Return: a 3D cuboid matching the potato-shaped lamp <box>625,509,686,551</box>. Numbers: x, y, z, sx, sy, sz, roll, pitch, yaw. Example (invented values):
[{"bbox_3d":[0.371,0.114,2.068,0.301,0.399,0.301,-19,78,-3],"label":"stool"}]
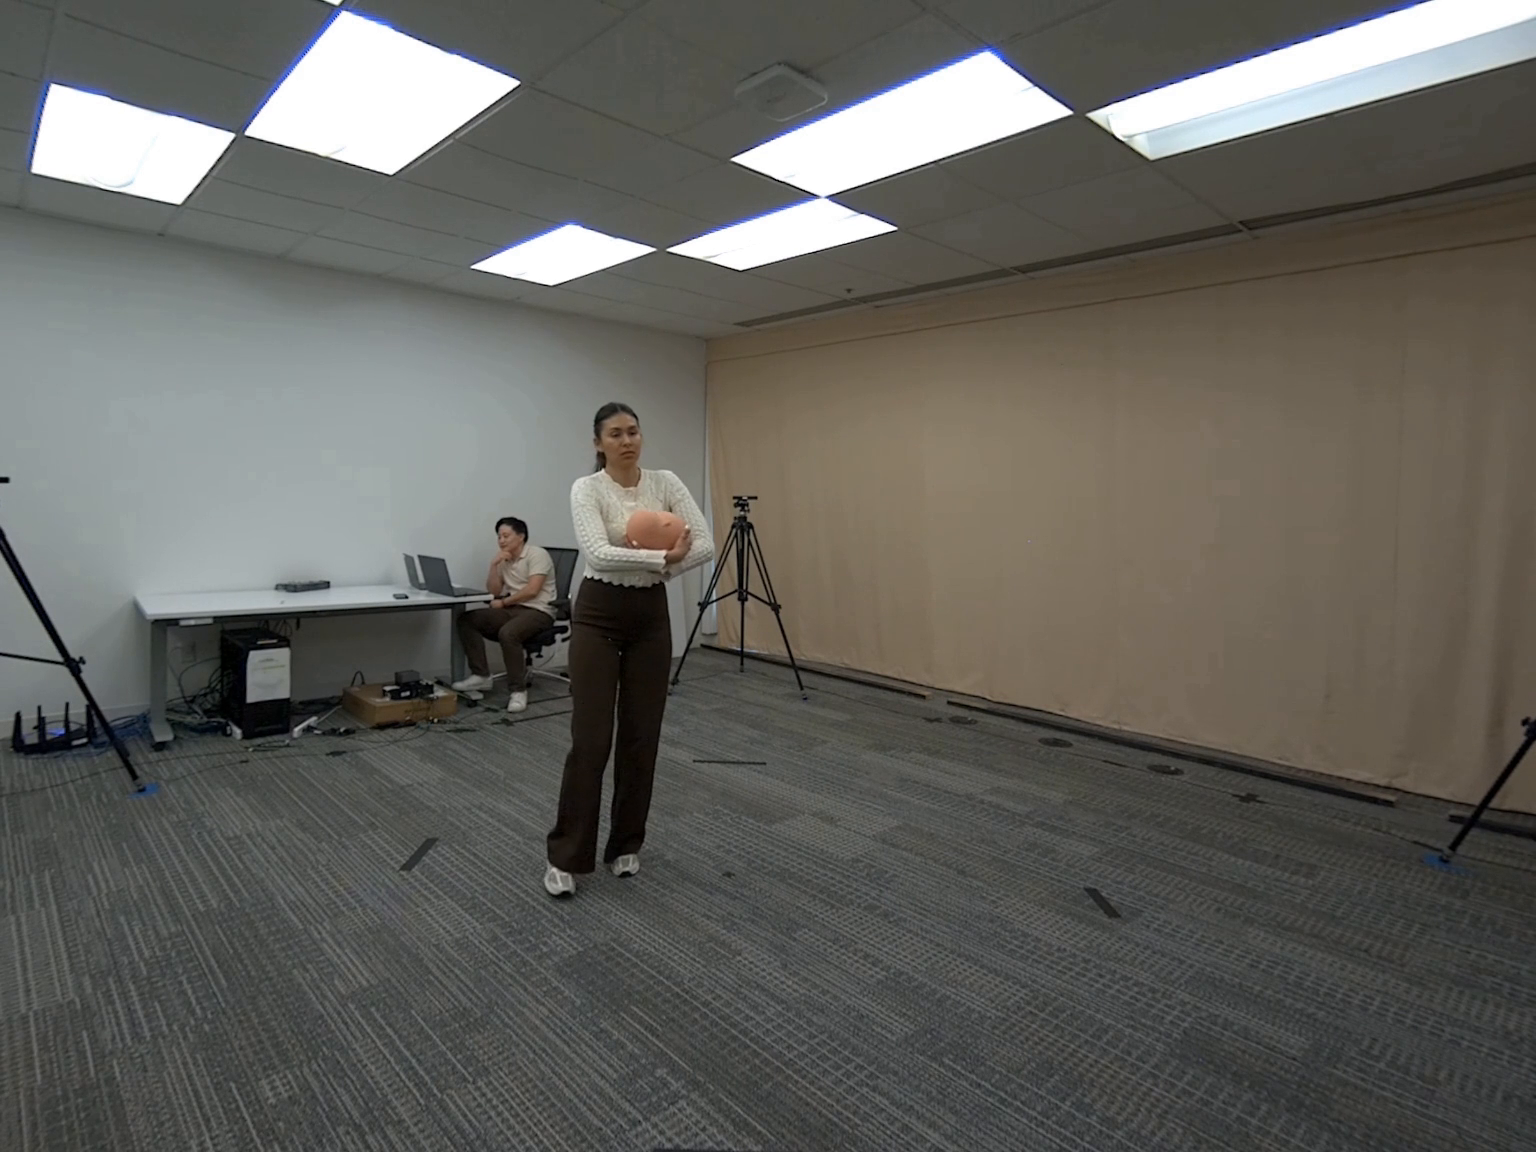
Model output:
[{"bbox_3d":[-0.418,-0.152,2.888,0.192,0.171,0.169,29,5,-32],"label":"potato-shaped lamp"}]
